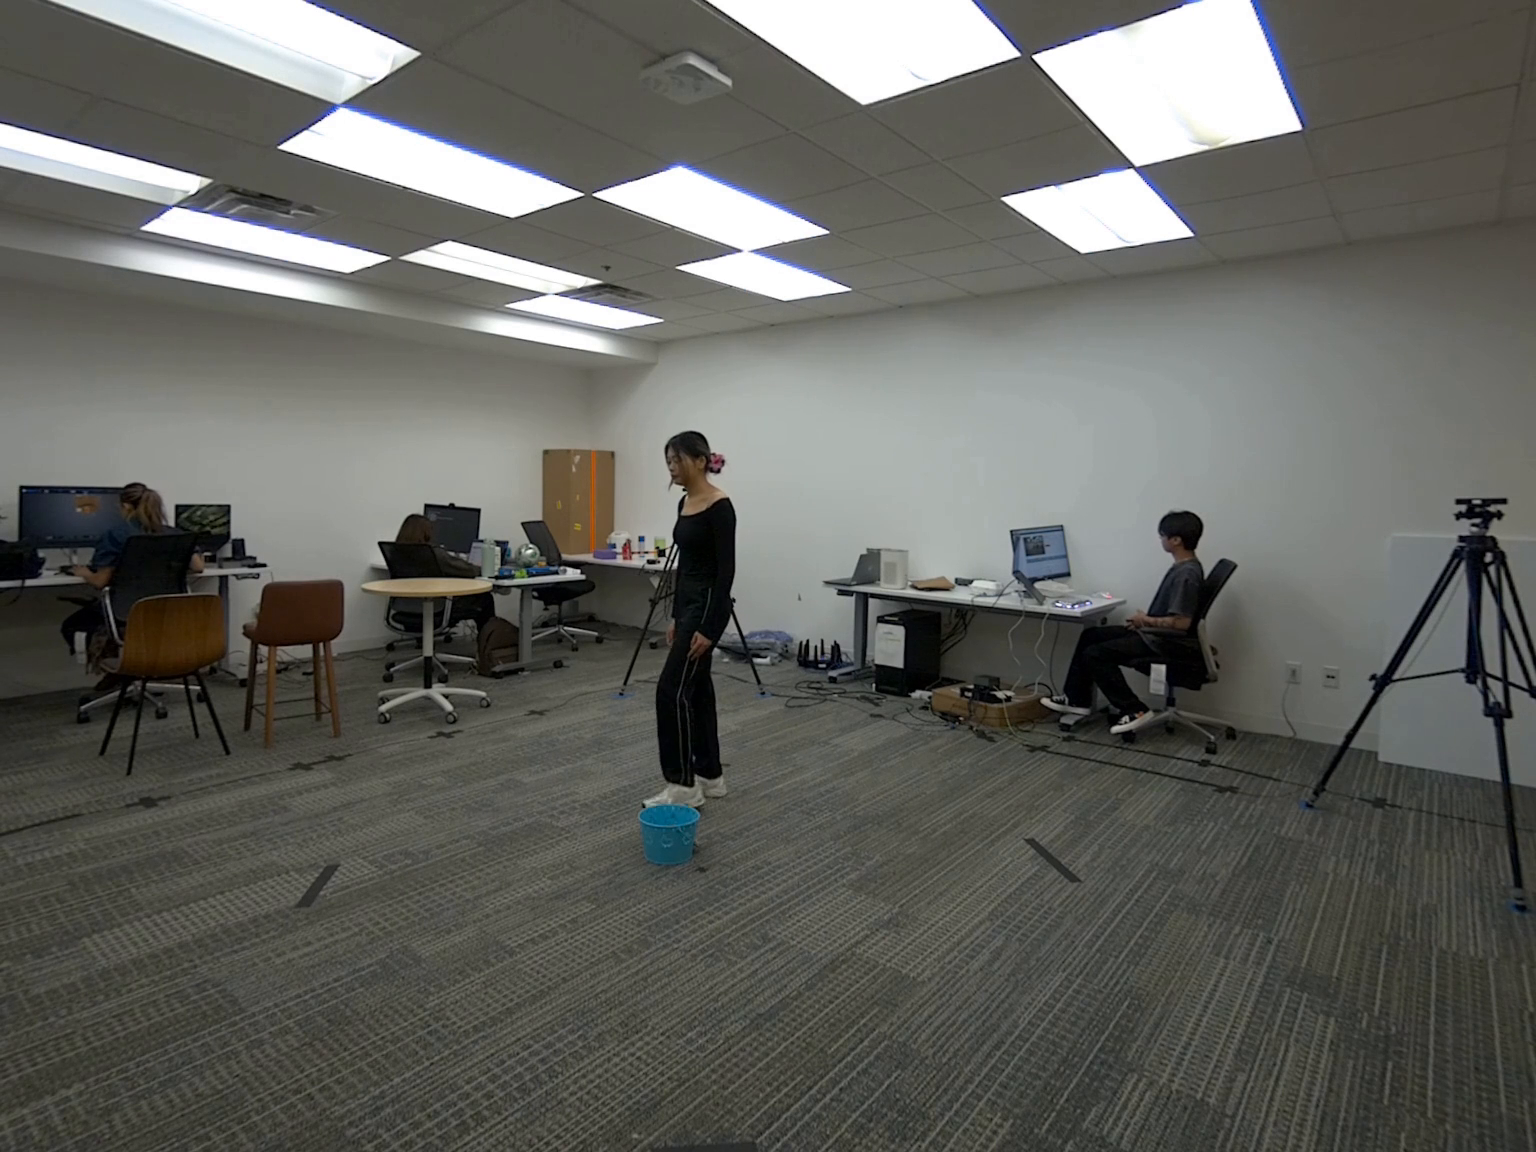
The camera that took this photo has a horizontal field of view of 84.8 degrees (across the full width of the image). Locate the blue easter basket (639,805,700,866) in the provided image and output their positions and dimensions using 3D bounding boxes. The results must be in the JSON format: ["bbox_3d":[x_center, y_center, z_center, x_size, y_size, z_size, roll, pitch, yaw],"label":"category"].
[{"bbox_3d":[-0.383,0.977,3.227,0.243,0.155,0.245,0,5,-2],"label":"blue easter basket"}]
